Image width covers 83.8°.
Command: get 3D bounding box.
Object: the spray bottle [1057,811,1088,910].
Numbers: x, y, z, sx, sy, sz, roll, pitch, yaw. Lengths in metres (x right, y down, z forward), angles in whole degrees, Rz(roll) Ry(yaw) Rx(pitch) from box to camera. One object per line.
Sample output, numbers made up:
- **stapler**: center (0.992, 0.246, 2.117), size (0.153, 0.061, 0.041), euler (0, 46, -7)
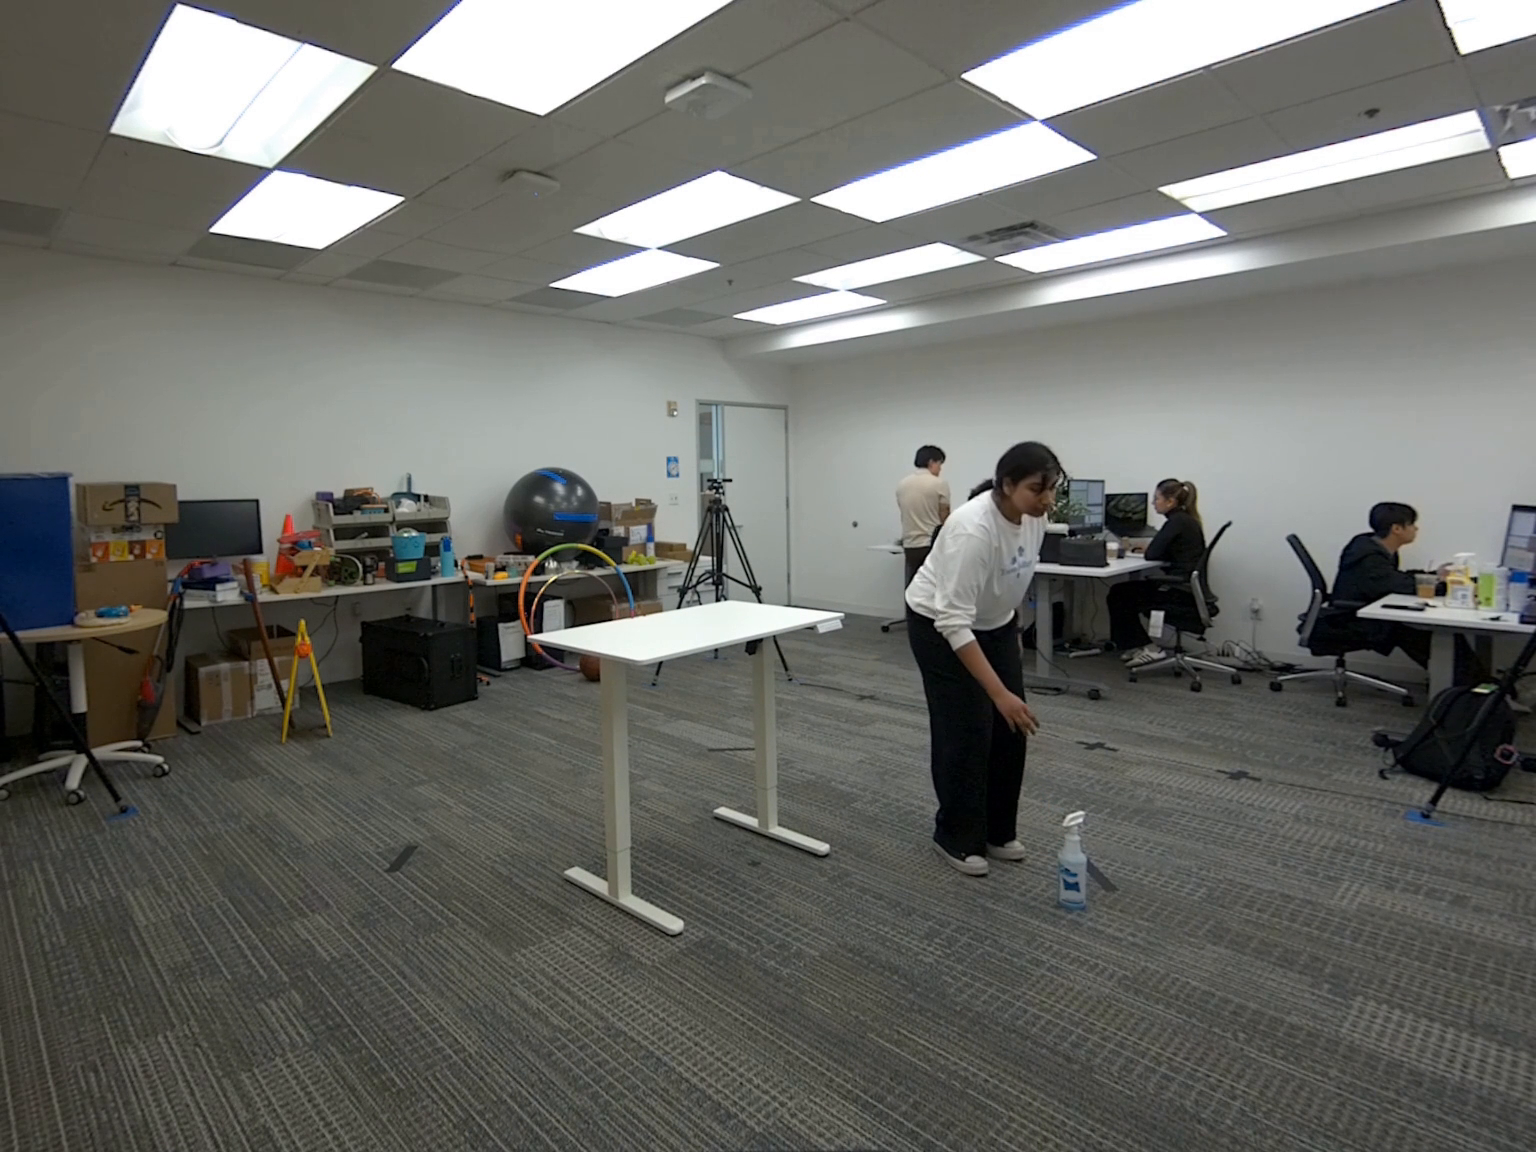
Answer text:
- **spray bottle**: center (0.996, 0.925, 2.773), size (0.090, 0.297, 0.087), euler (0, 3, -3)
